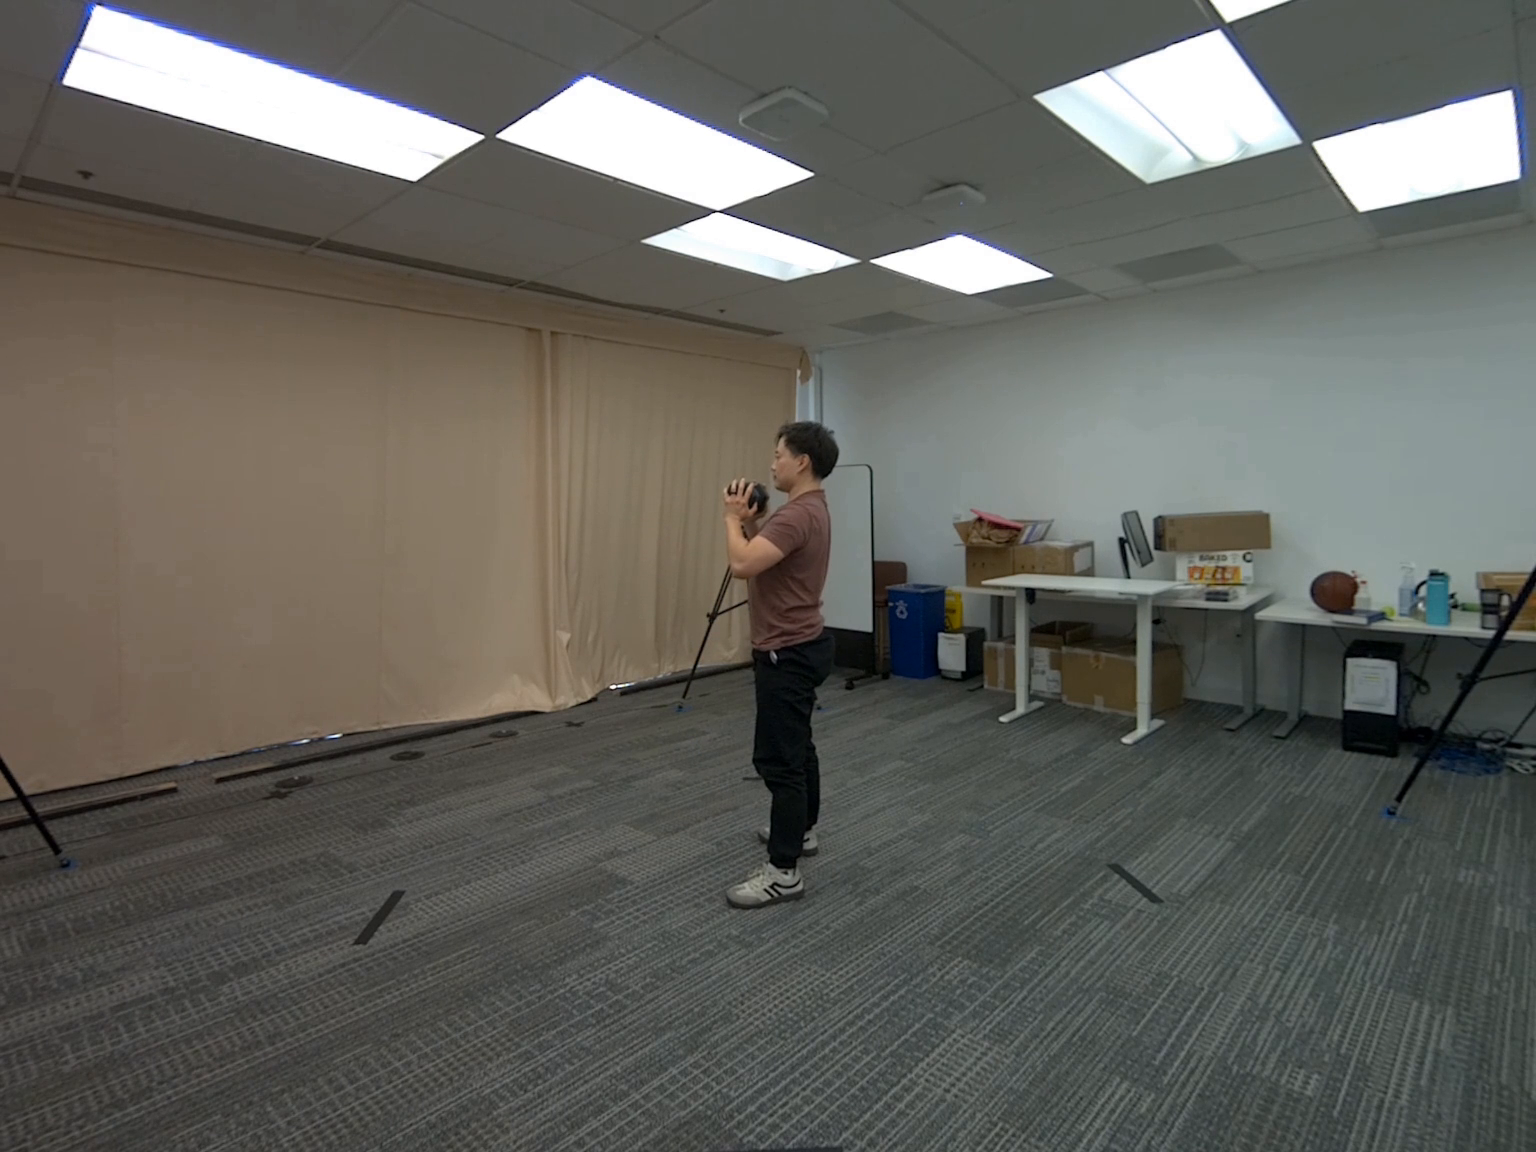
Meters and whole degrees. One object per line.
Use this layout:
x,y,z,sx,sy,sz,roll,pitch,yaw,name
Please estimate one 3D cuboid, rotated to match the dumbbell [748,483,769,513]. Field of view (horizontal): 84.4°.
-0.067,-0.288,3.140,0.124,0.108,0.290,-2,5,11,dumbbell
